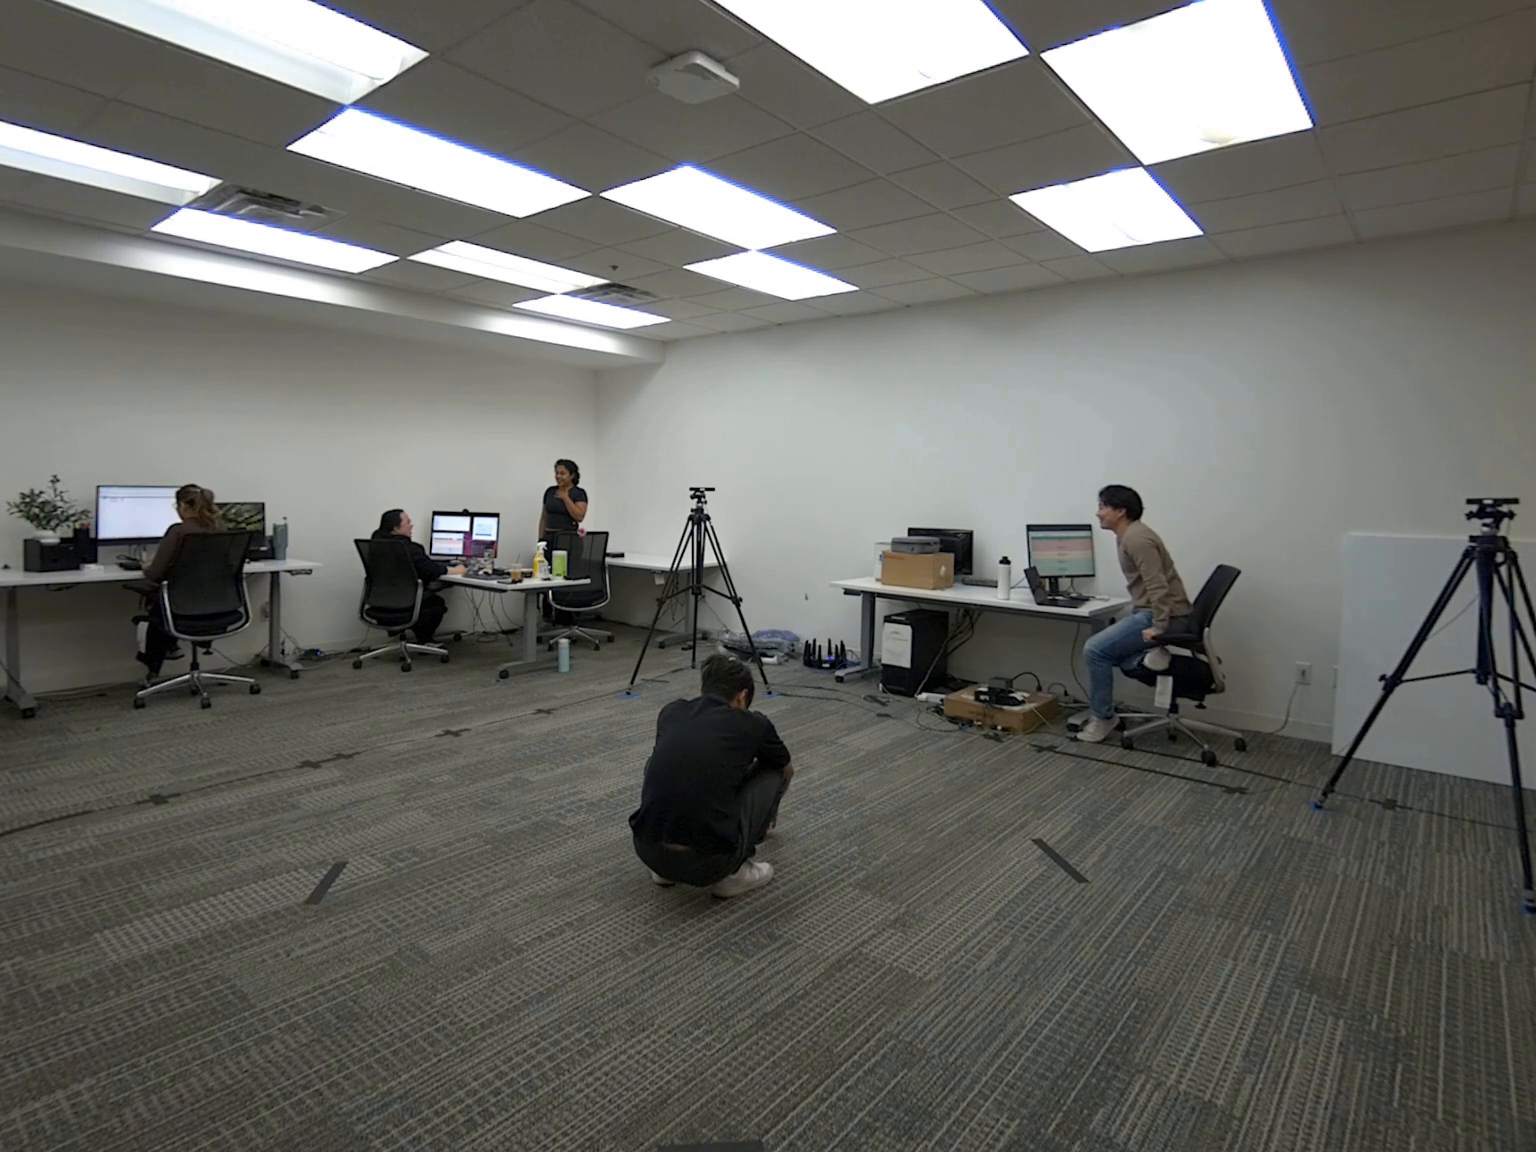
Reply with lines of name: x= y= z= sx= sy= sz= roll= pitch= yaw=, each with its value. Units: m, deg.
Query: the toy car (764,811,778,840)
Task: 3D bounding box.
toy car: x=-0.107 y=1.000 z=3.402 sx=0.249 sy=0.082 sz=0.134 roll=-14 pitch=12 yaw=-27
